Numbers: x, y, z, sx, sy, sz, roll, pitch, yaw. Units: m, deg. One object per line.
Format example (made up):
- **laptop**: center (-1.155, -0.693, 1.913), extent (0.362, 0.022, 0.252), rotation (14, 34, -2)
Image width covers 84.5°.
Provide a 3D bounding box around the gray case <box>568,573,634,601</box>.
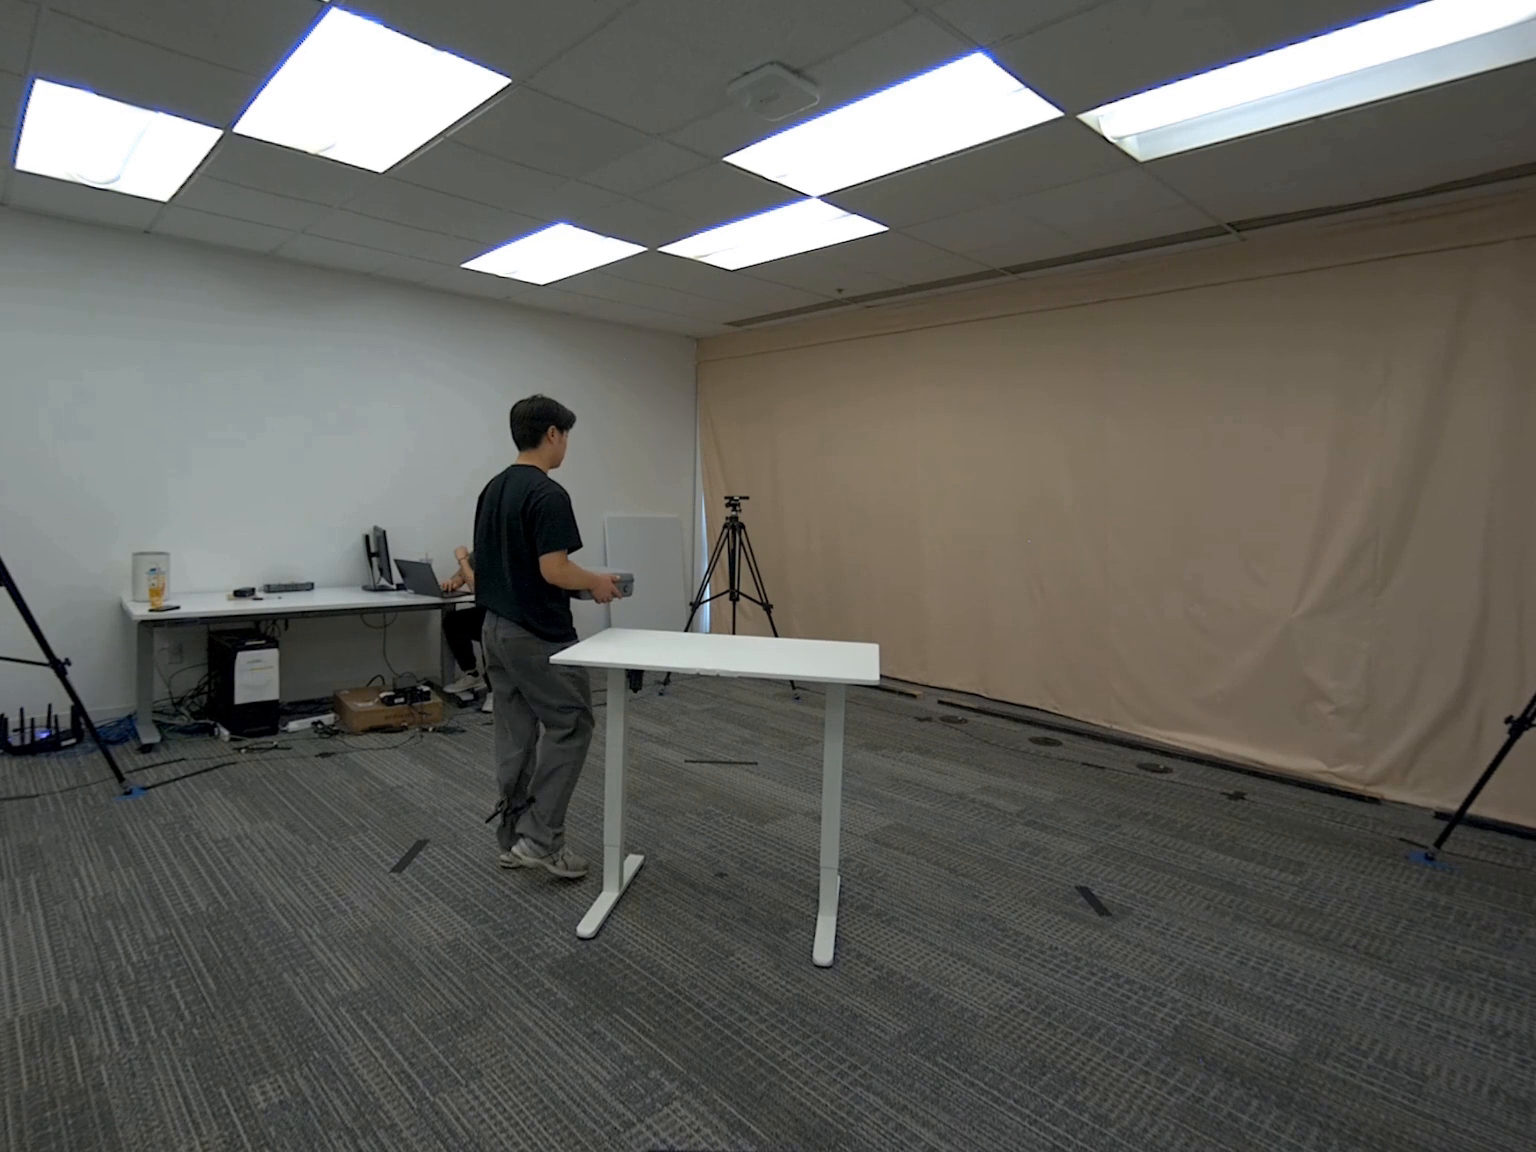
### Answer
- **gray case**: center (-0.677, 0.017, 3.344), extent (0.293, 0.103, 0.258), rotation (8, 3, 23)
